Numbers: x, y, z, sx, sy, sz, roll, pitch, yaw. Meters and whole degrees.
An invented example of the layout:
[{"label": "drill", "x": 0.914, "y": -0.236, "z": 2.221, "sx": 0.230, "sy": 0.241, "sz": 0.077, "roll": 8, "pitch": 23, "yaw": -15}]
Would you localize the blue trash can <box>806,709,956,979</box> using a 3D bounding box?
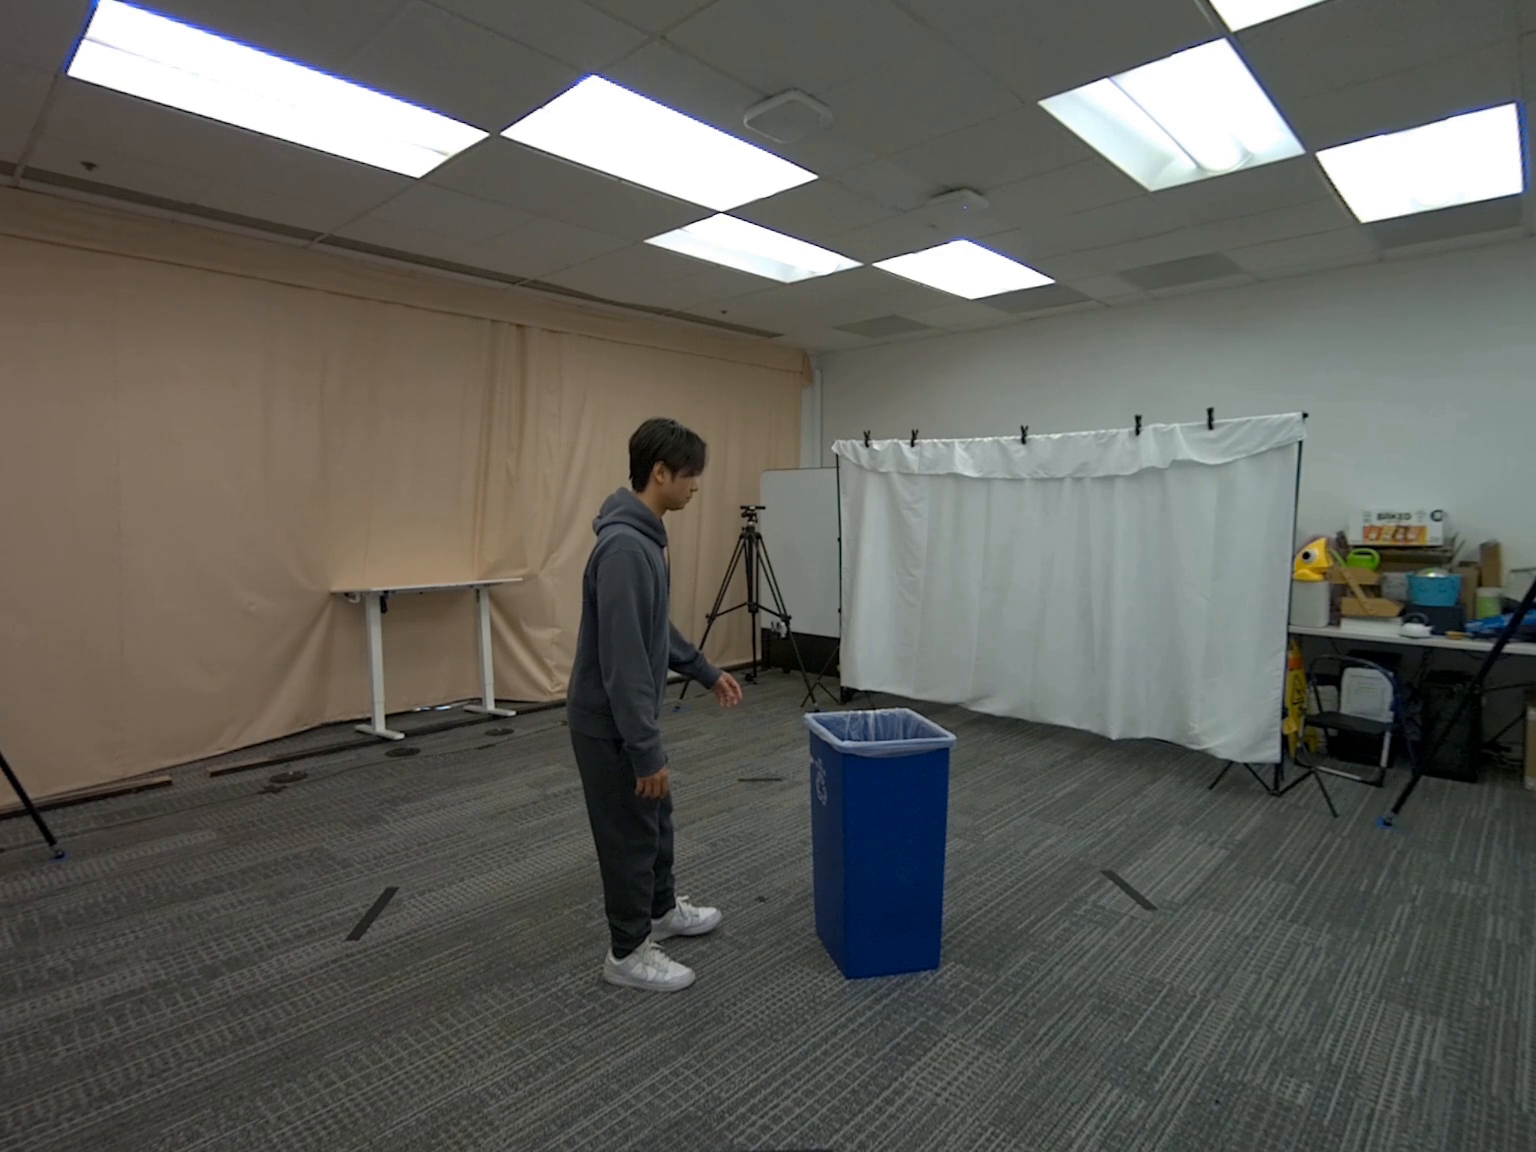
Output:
[{"label": "blue trash can", "x": 0.348, "y": 0.815, "z": 2.621, "sx": 0.373, "sy": 0.712, "sz": 0.380, "roll": -2, "pitch": 3, "yaw": -13}]
